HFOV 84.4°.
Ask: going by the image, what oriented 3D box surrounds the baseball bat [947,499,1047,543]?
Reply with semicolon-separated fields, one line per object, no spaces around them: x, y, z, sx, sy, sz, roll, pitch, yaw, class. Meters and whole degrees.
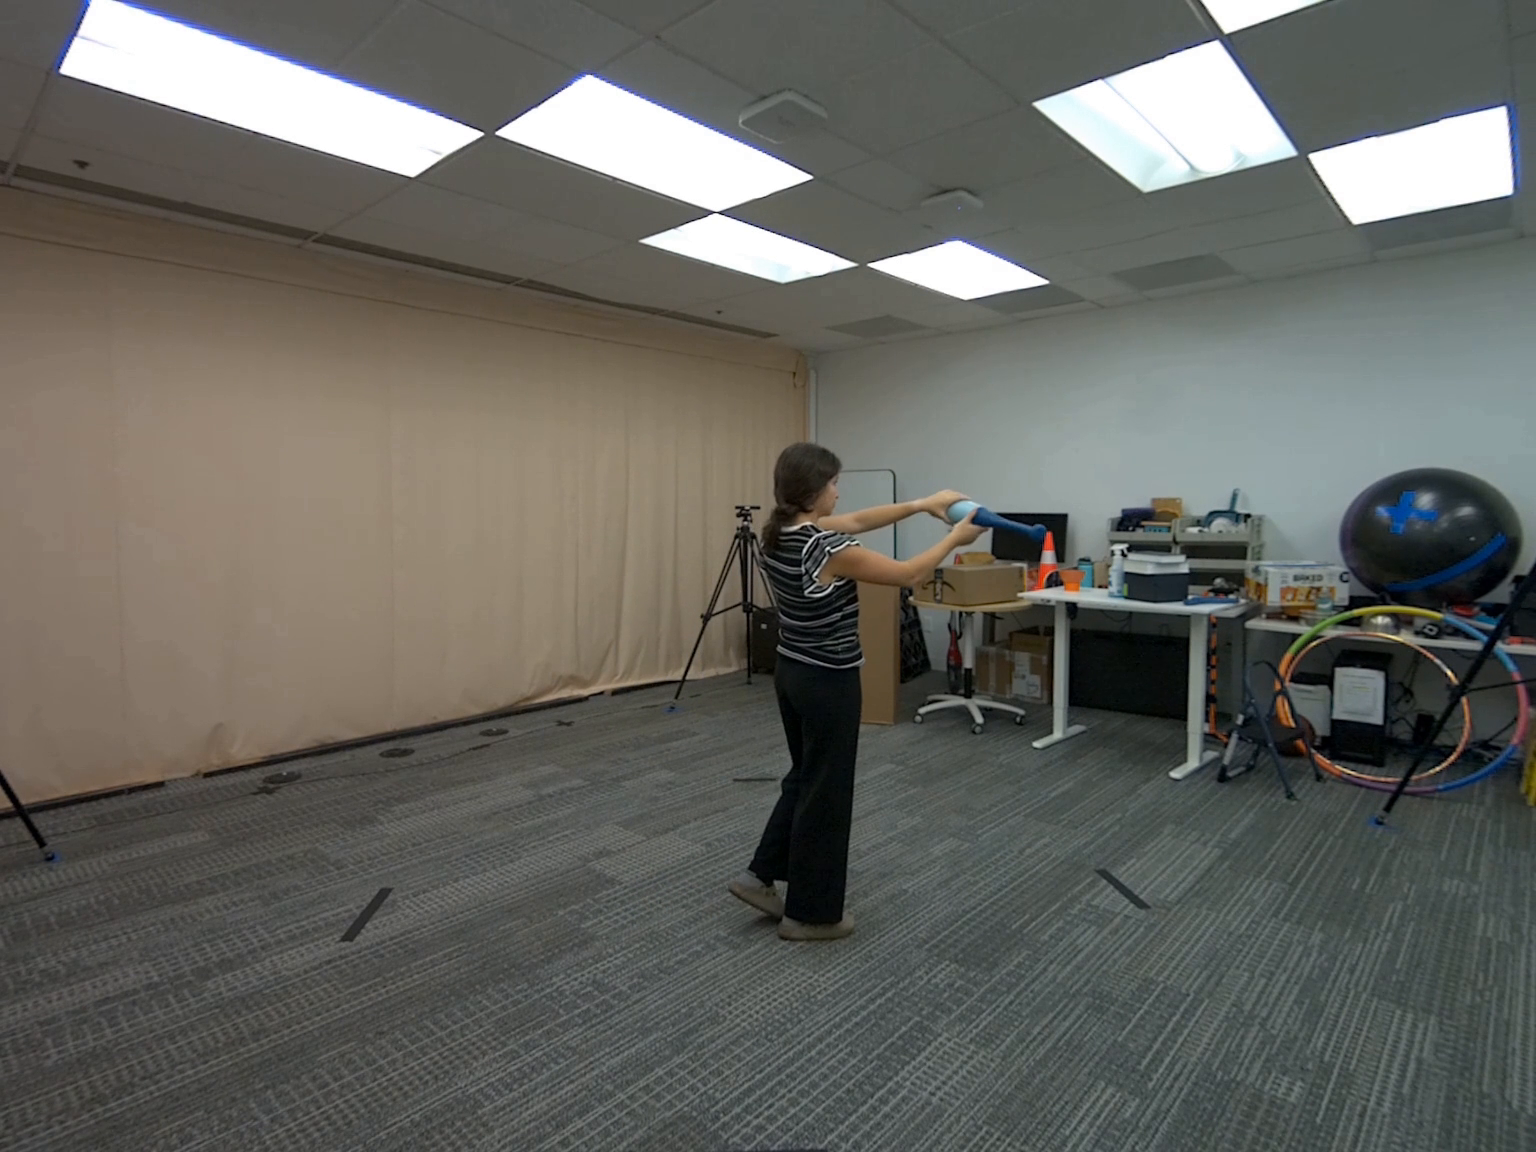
0.705;-0.186;2.711;0.087;0.088;0.558;-2;14;-23;baseball bat
